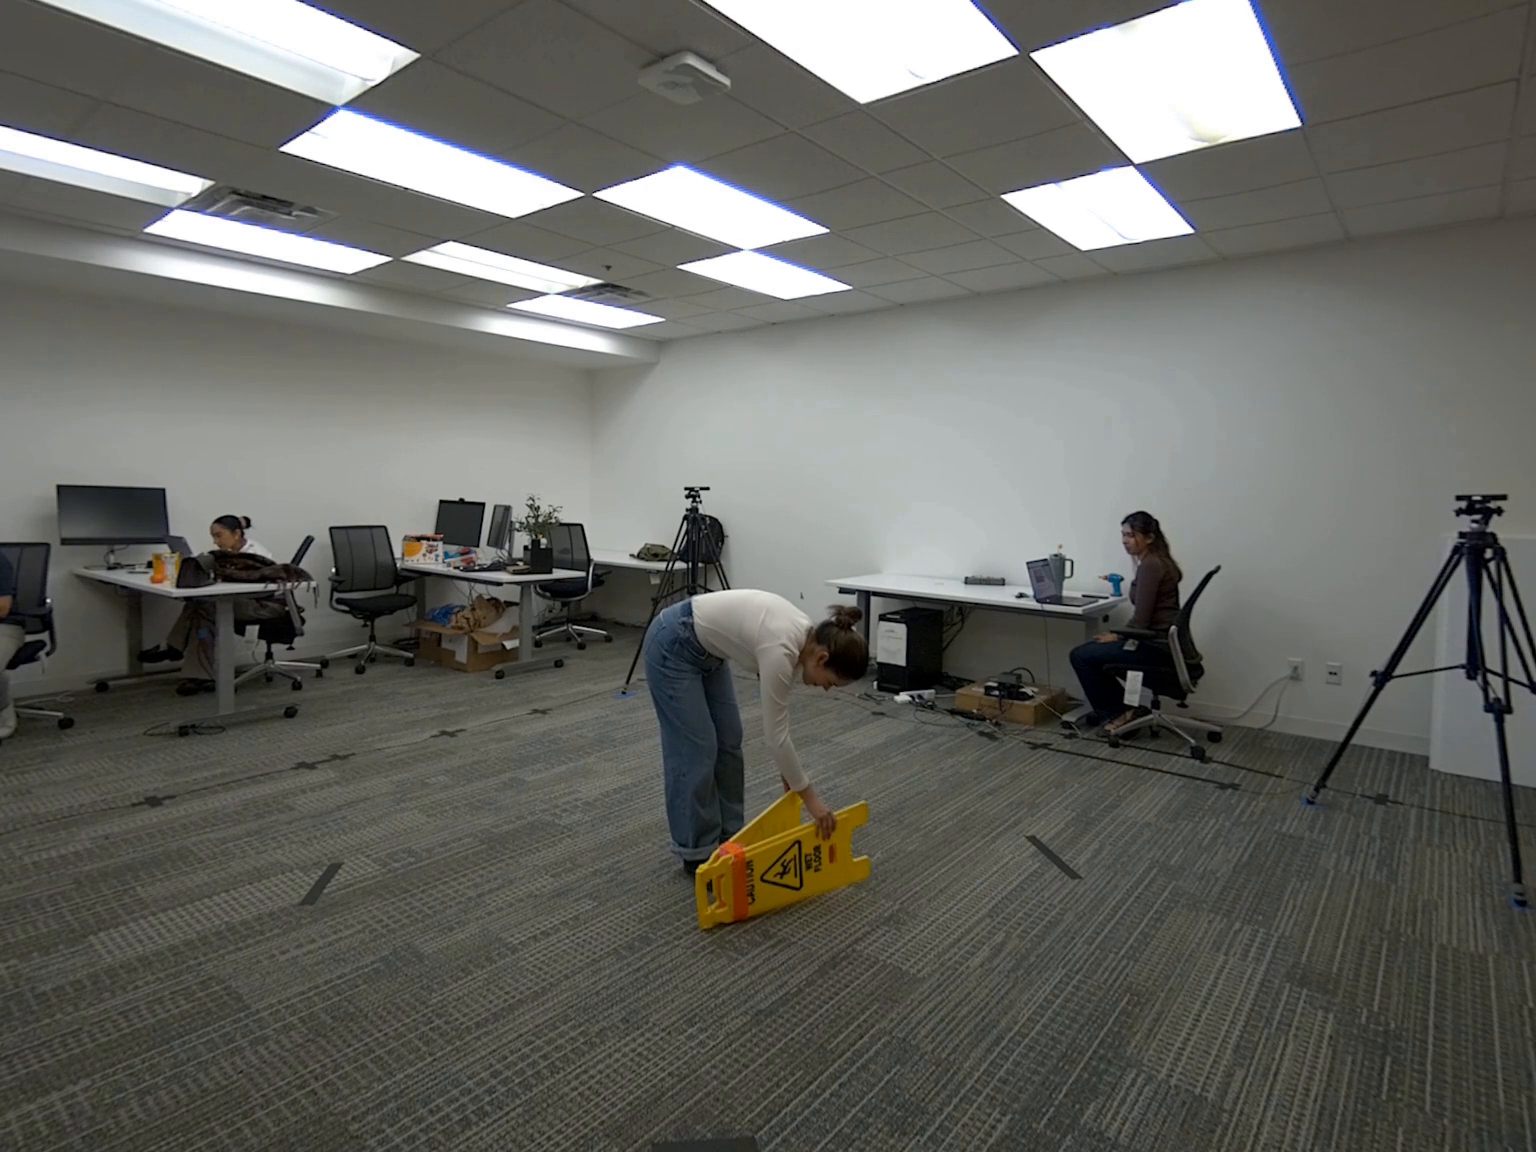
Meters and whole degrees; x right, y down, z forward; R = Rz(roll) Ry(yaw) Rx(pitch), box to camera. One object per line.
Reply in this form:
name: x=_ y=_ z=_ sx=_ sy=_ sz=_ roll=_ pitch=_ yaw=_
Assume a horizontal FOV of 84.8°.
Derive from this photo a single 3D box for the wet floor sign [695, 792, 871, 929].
wet floor sign: x=0.009 y=0.944 z=2.839 sx=0.630 sy=0.279 sz=0.300 roll=-13 pitch=13 yaw=-39
